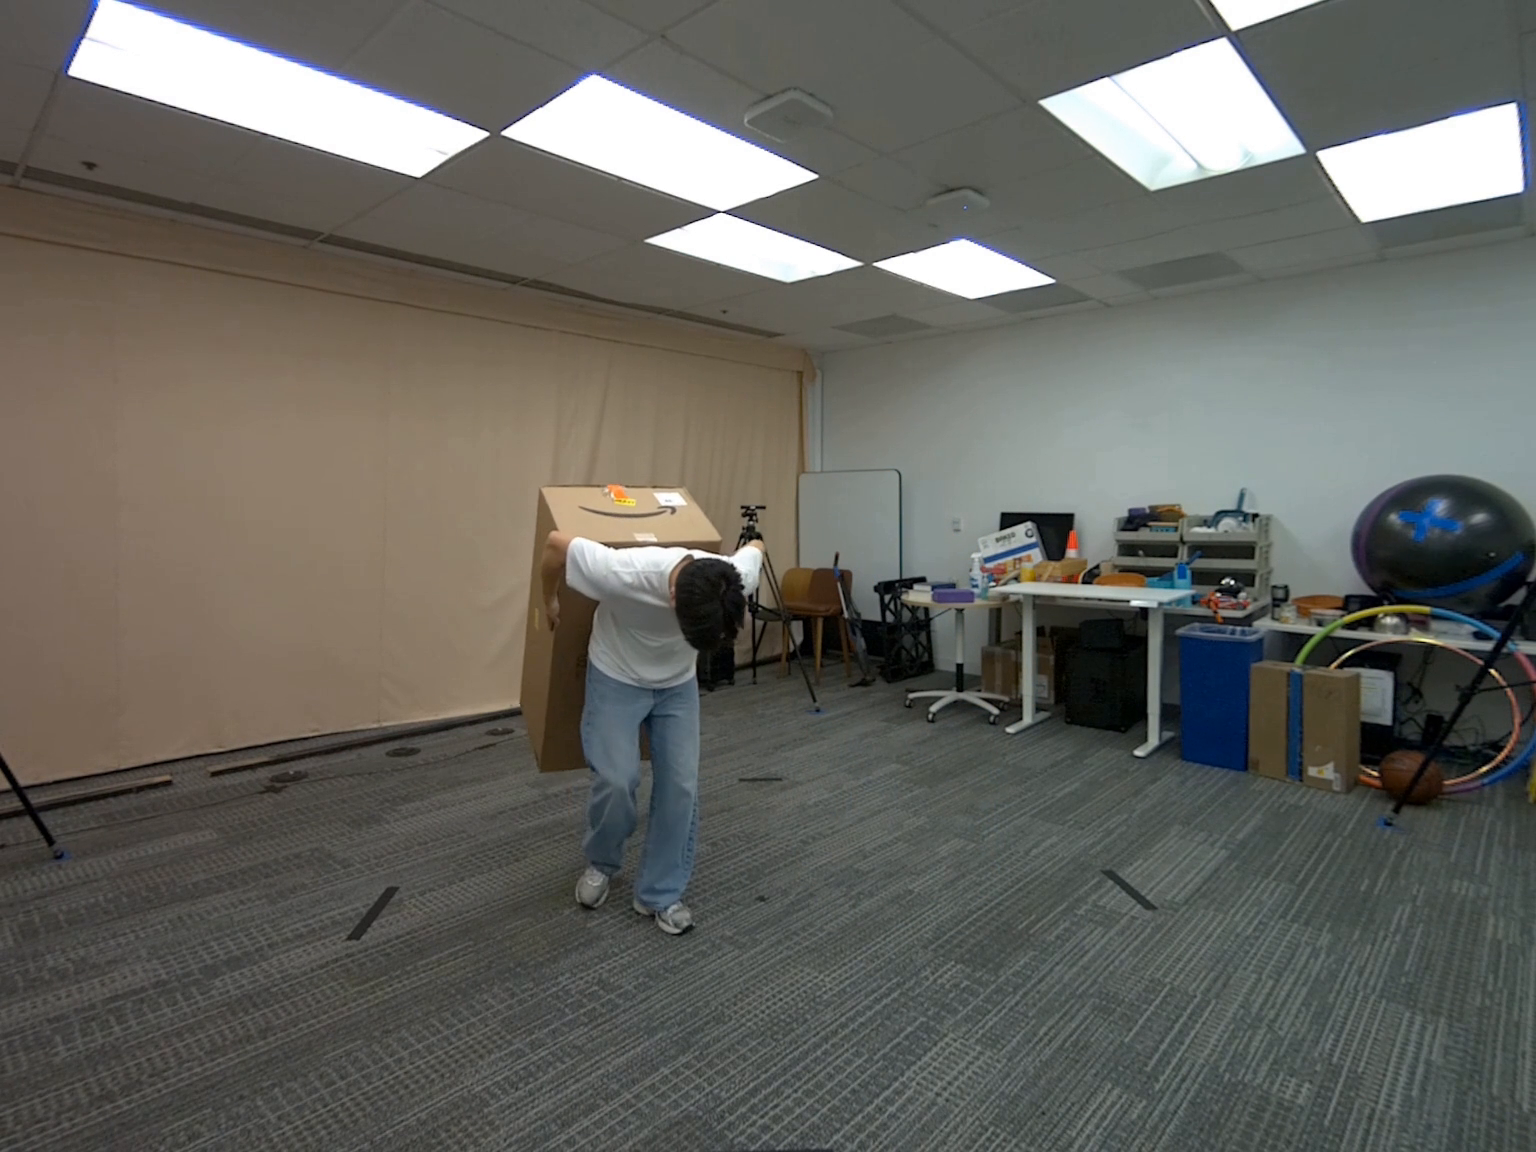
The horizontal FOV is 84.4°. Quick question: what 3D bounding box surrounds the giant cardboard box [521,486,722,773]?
[{"bbox_3d":[-0.607,0.200,3.261,0.563,1.016,0.441,-1,32,-26],"label":"giant cardboard box"}]
